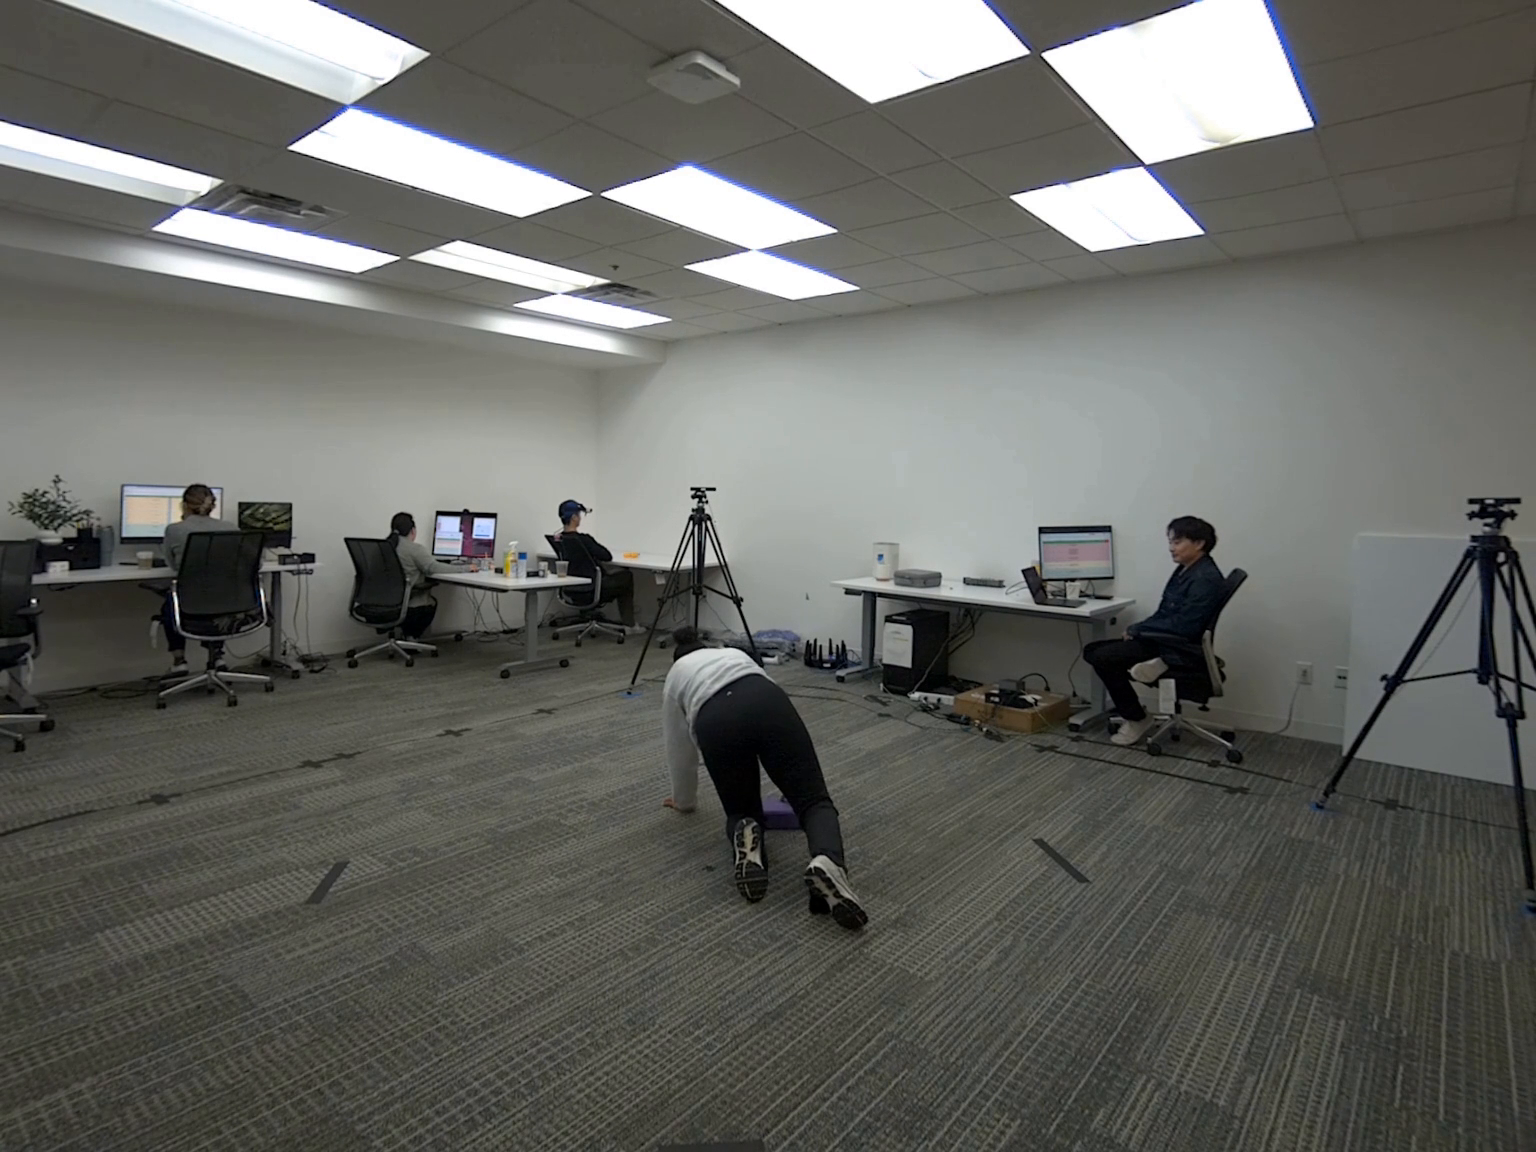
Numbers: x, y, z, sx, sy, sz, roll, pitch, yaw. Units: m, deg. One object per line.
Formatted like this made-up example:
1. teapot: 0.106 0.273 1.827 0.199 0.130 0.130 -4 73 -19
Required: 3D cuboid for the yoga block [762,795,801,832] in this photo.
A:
1. yoga block: 0.053 0.988 3.555 0.227 0.076 0.151 1 4 -8
